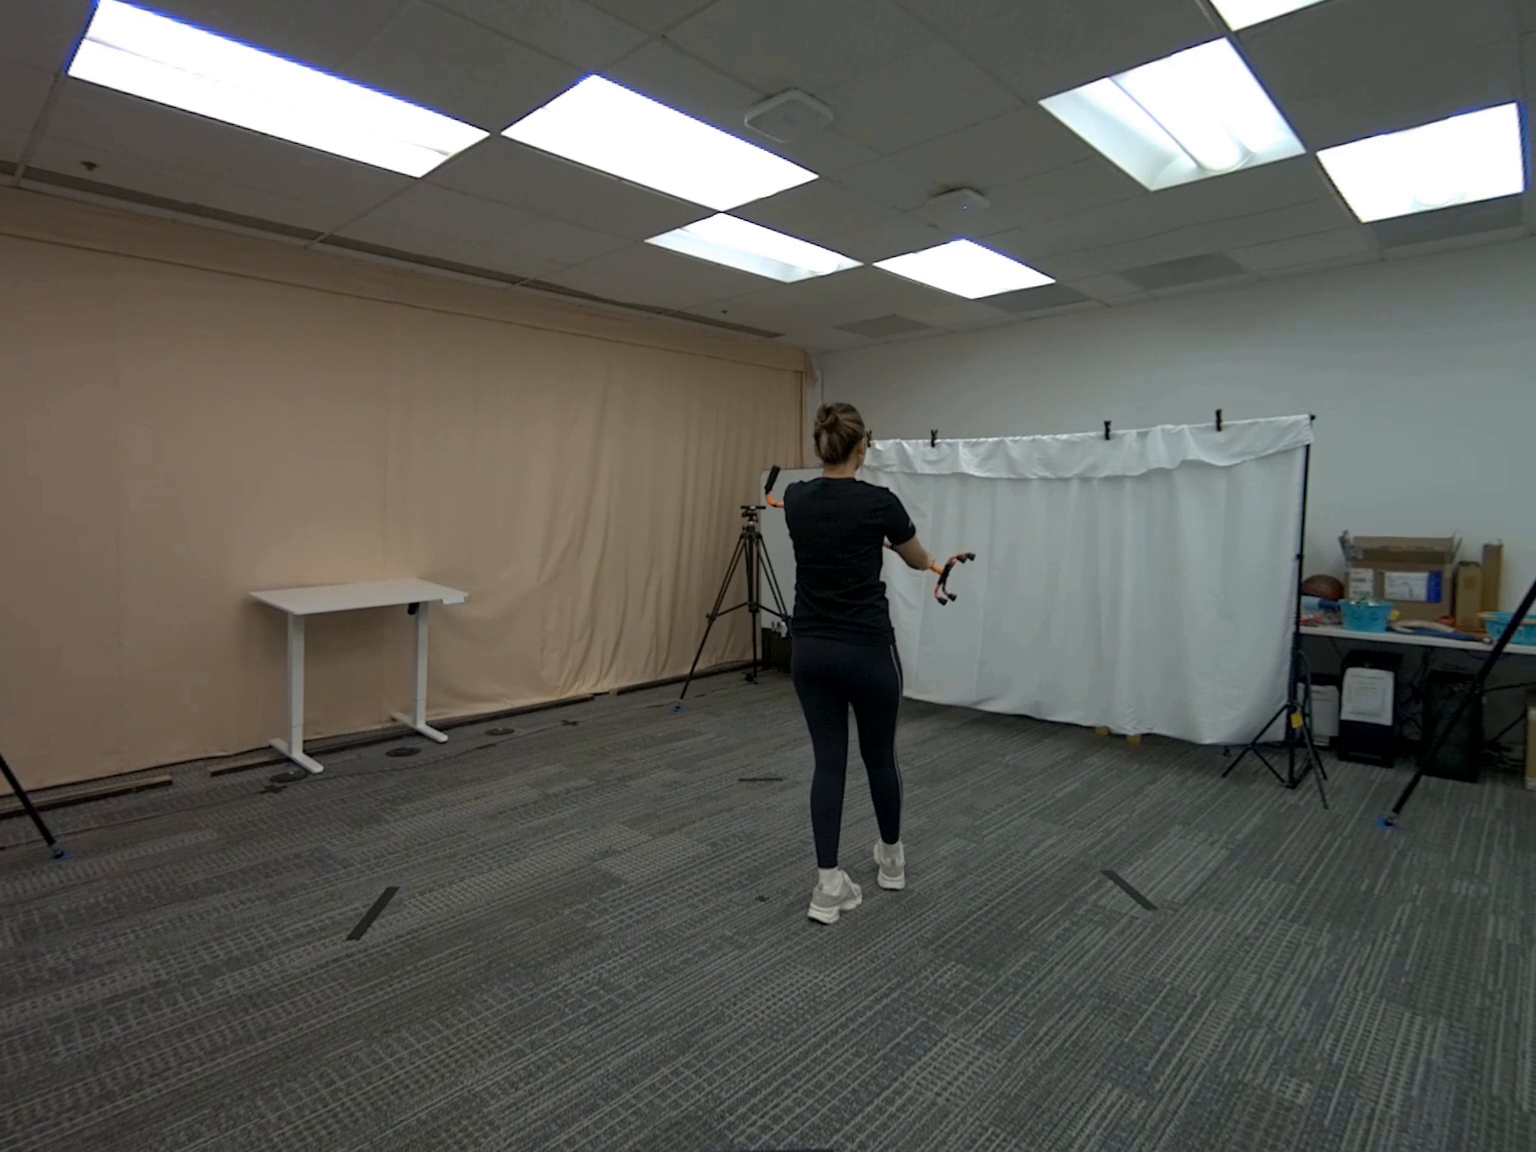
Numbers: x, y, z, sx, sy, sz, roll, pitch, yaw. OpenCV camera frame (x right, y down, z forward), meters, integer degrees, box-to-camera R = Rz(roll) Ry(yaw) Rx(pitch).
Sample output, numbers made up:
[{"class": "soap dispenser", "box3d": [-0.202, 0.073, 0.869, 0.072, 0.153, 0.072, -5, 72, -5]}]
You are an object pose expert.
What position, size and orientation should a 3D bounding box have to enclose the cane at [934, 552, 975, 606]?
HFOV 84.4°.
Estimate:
[{"class": "cane", "box3d": [0.367, -0.187, 3.407, 0.935, 0.206, 0.148, 29, 18, 26]}]
